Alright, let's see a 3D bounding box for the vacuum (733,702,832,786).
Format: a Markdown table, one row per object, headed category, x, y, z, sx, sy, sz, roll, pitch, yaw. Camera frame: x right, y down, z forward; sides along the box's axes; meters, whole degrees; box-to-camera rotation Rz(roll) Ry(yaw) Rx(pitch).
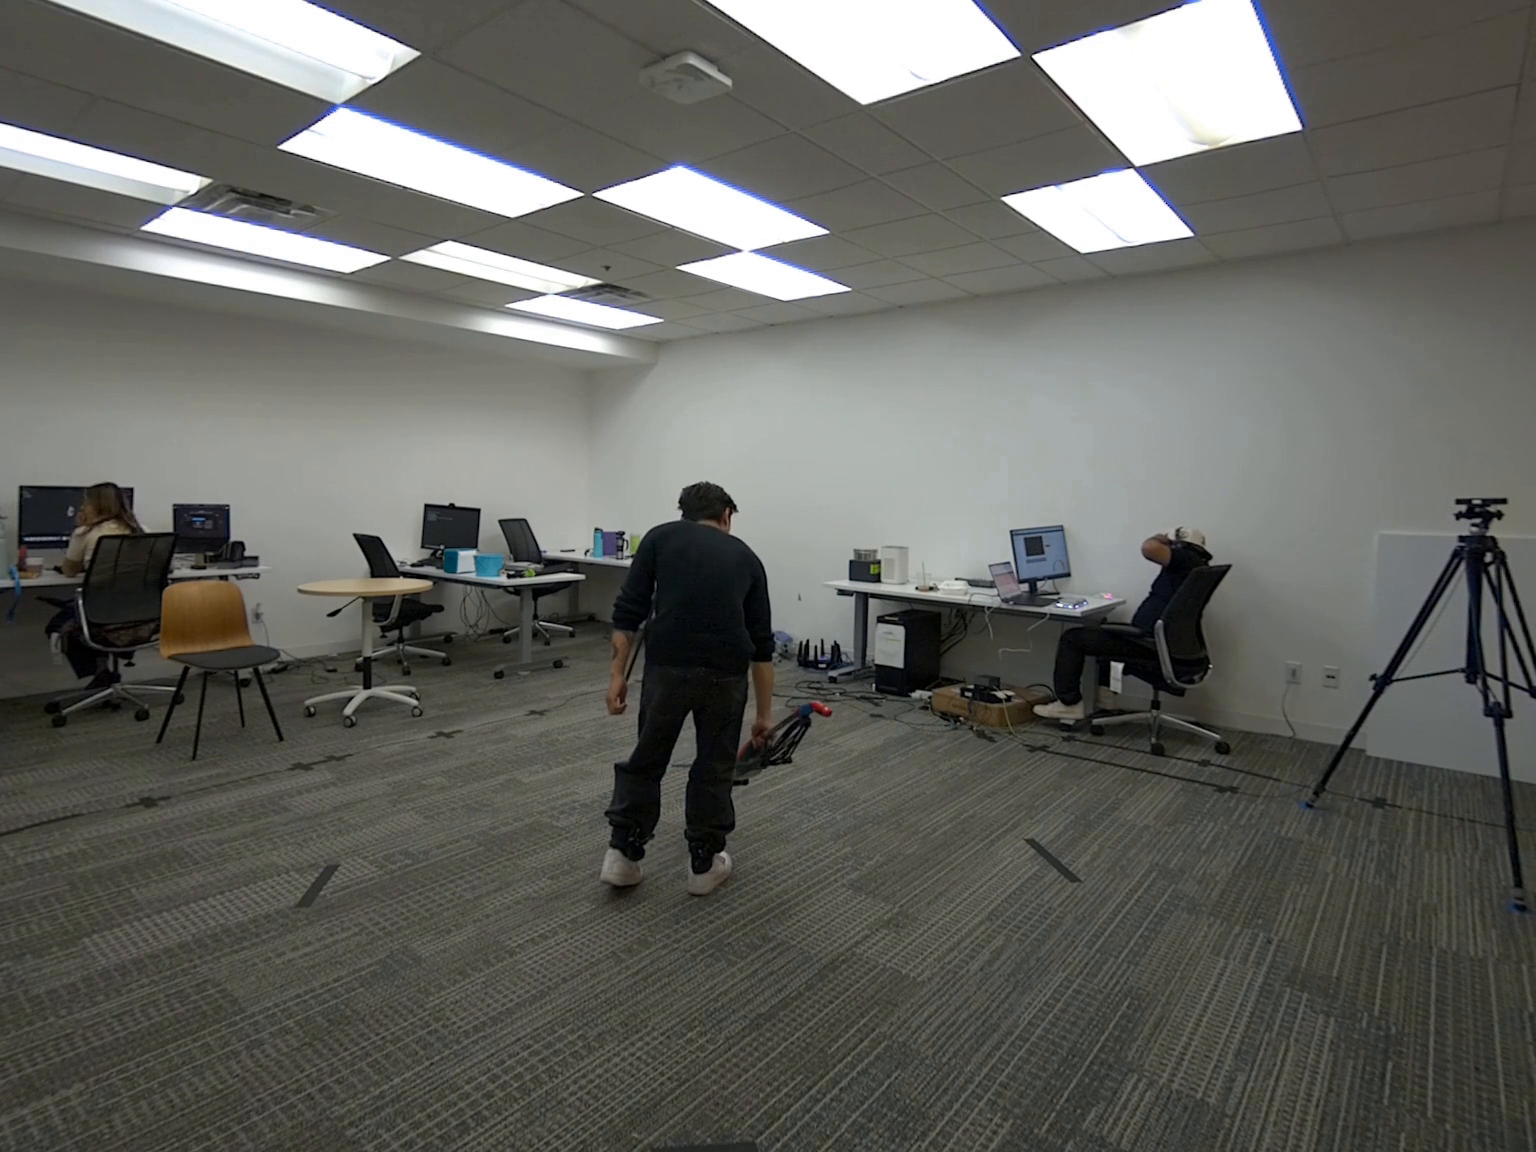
| category | x | y | z | sx | sy | sz | roll | pitch | yaw |
| --- | --- | --- | --- | --- | --- | --- | --- | --- | --- |
| vacuum | 0.000 | 0.597 | 2.985 | 0.247 | 0.147 | 1.046 | 3 | -24 | -20 |
